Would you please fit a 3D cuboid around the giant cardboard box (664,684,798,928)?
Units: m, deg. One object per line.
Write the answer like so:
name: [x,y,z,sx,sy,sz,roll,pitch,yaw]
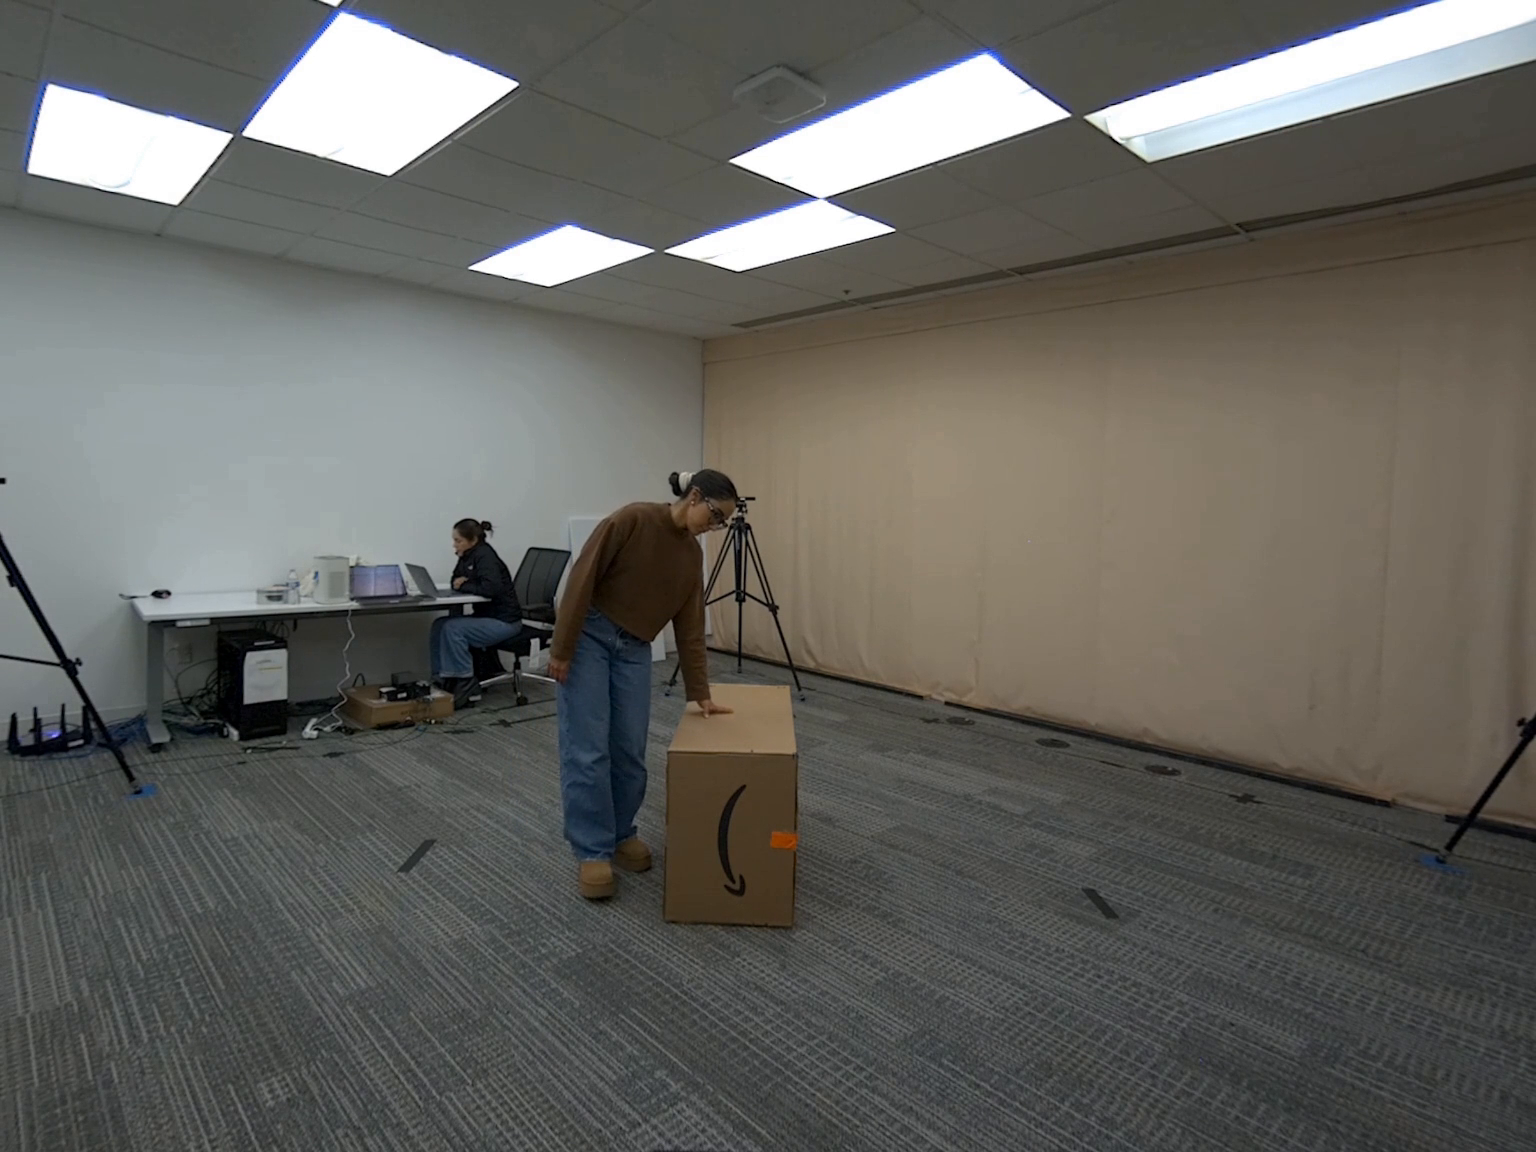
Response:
giant cardboard box: [-0.119,0.809,3.231,0.448,0.582,1.028,0,5,1]
